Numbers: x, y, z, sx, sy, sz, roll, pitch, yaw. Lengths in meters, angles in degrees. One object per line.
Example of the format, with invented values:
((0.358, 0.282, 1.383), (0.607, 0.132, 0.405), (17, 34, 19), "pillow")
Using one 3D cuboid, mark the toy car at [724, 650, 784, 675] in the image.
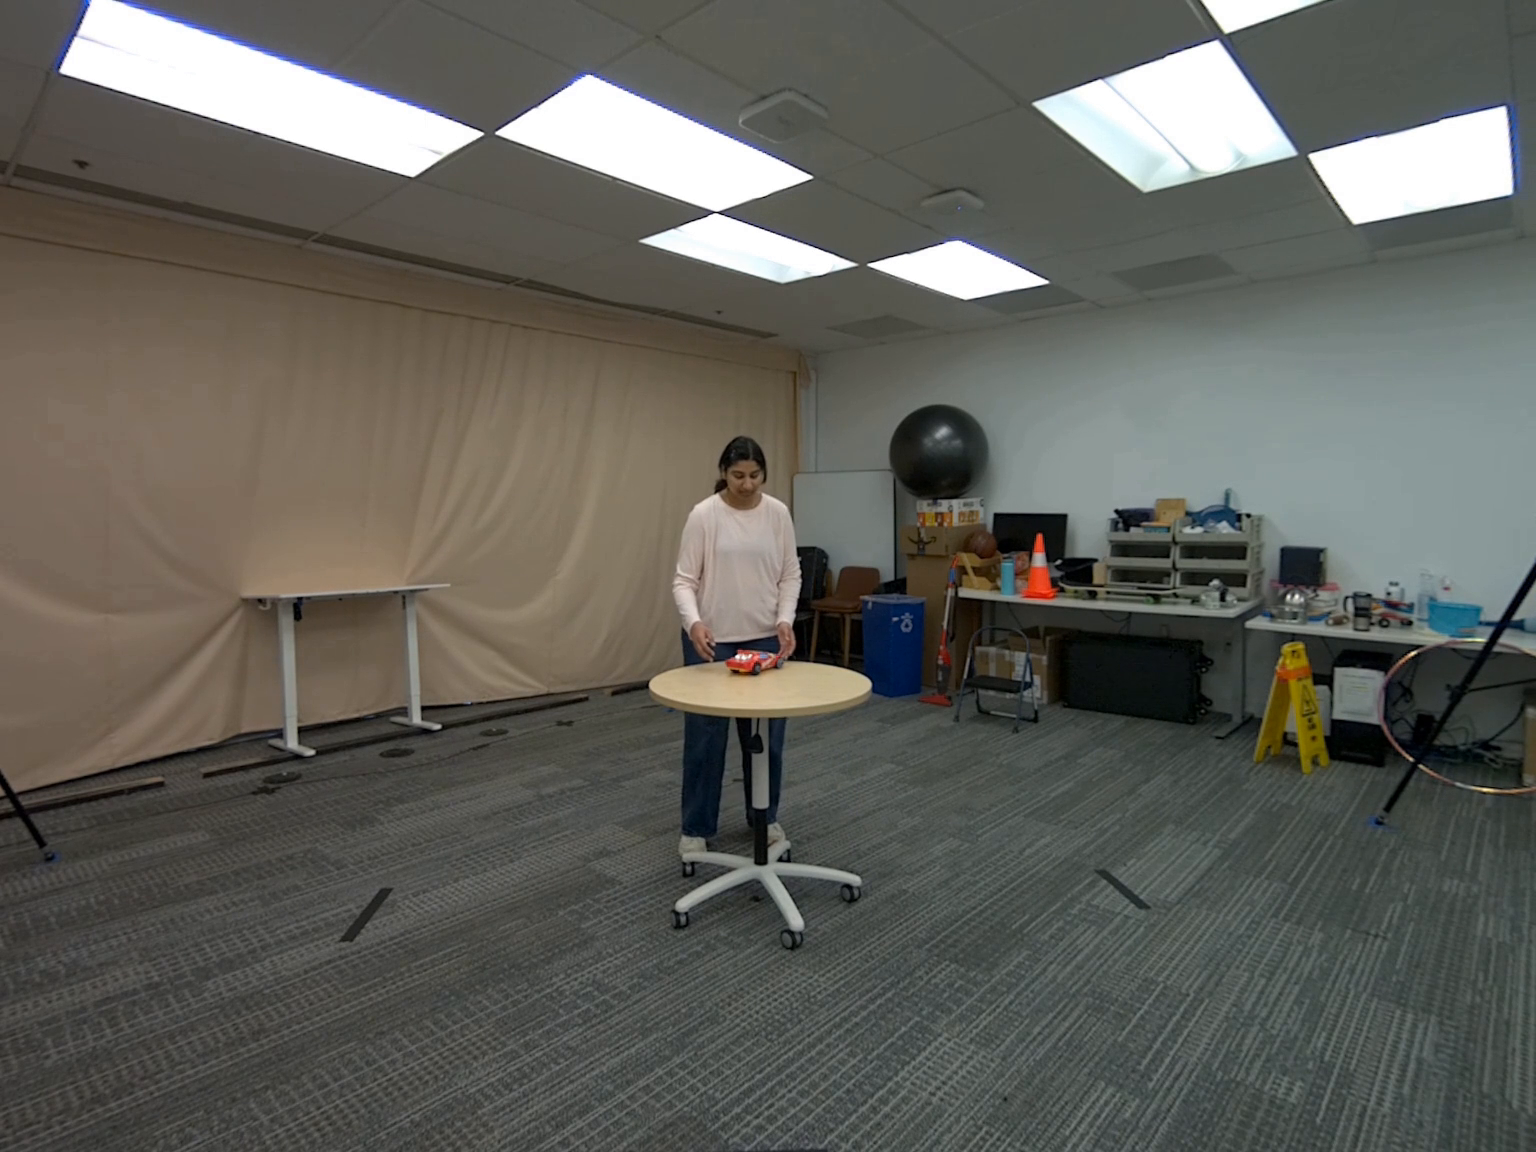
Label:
((-0.053, 0.317, 3.091), (0.134, 0.083, 0.246), (2, -6, 37), "toy car")
